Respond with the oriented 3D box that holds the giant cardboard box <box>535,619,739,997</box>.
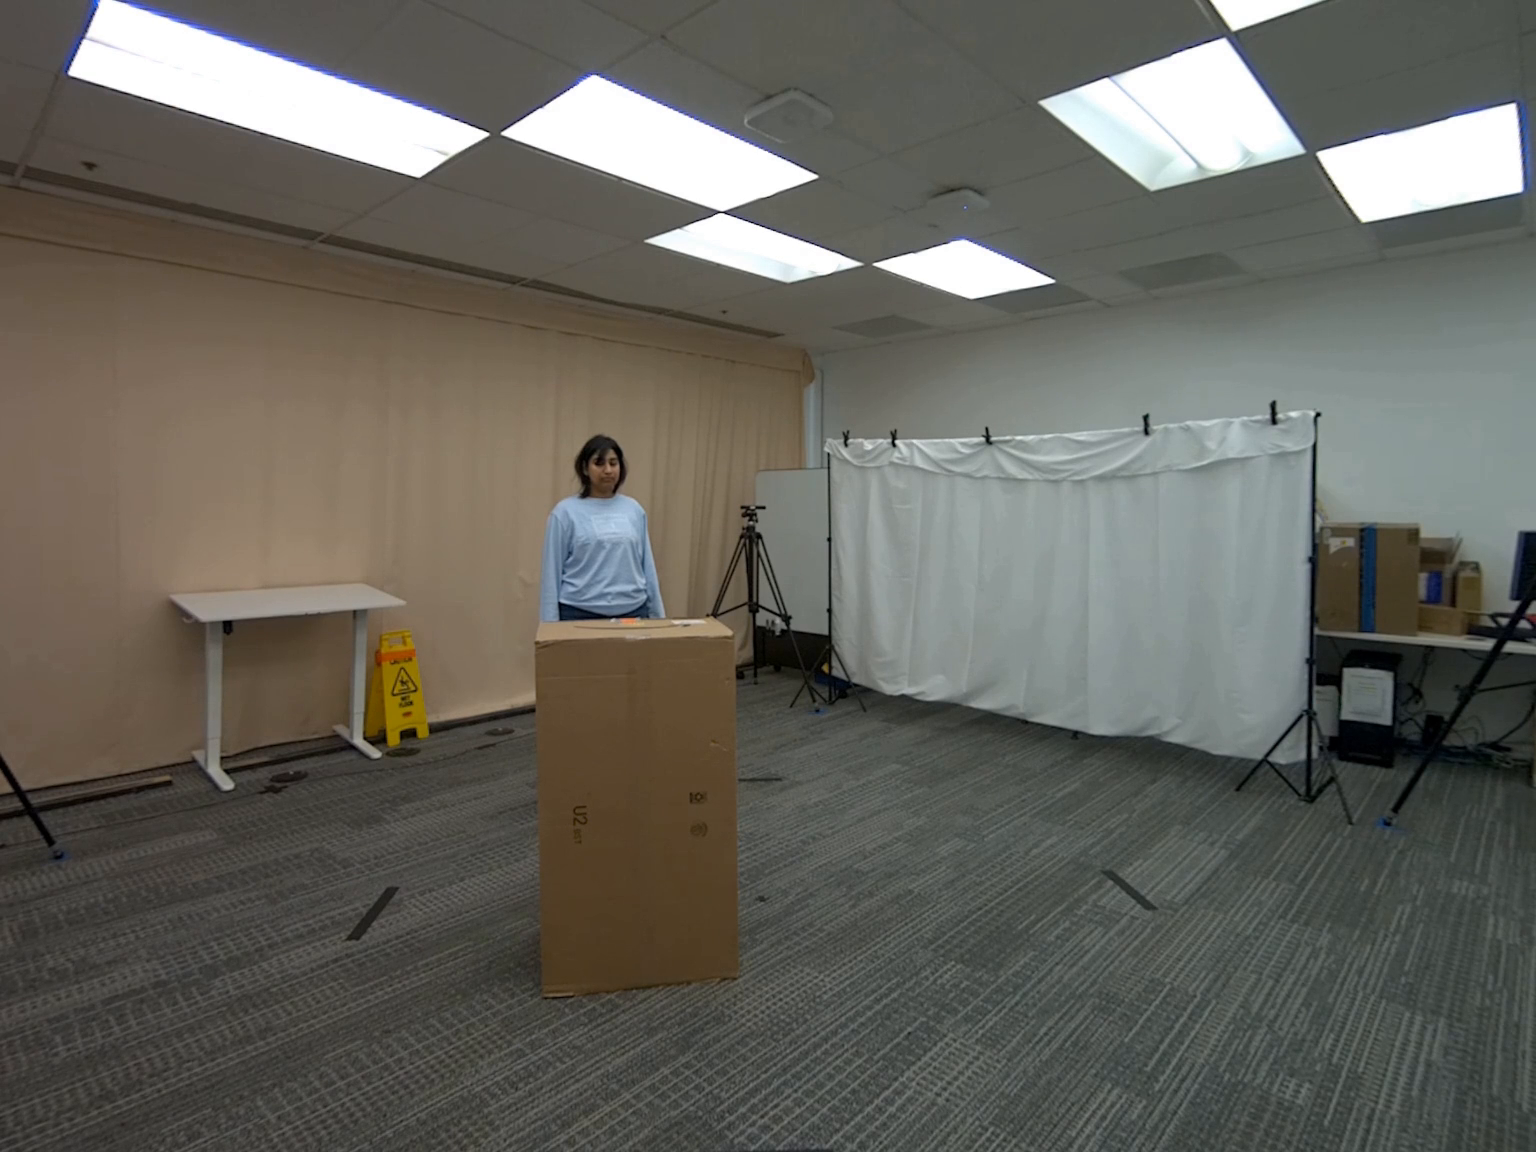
[{"bbox_3d":[-0.412,0.669,2.615,0.577,1.025,0.452,-1,2,-11],"label":"giant cardboard box"}]
